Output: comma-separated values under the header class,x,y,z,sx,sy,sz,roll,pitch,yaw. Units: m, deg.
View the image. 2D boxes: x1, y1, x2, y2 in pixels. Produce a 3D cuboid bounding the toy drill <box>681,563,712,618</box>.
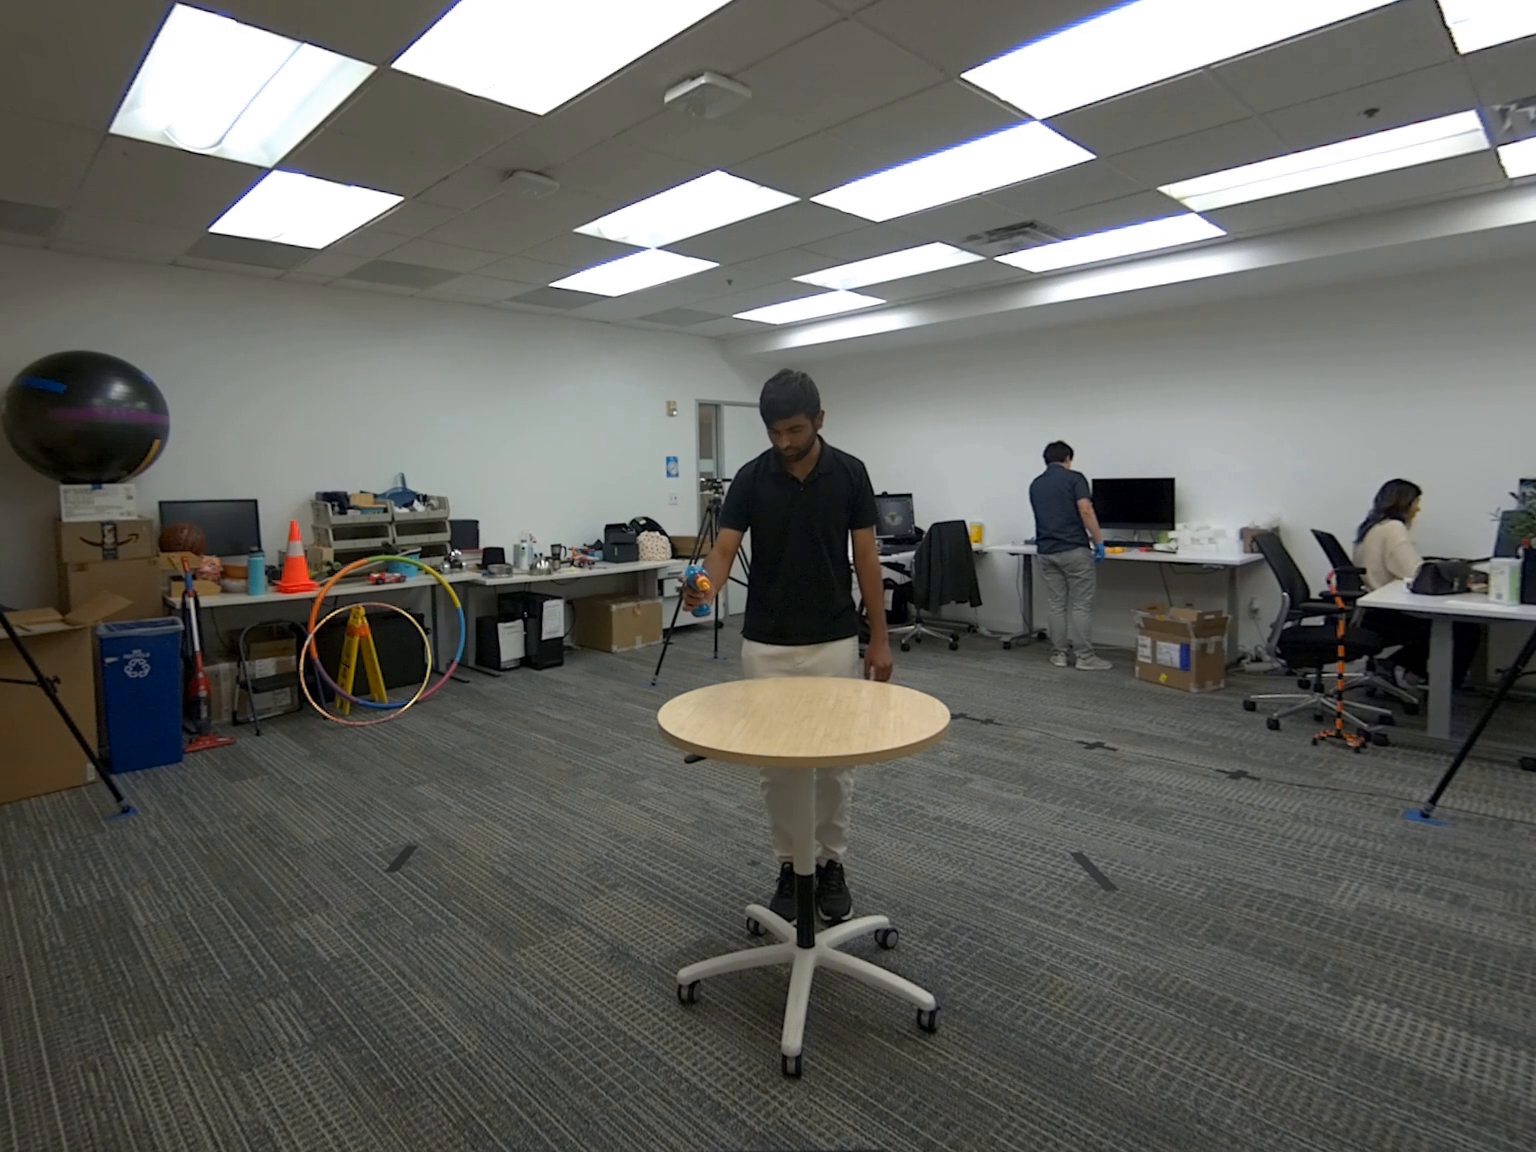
class,x,y,z,sx,sy,sz,roll,pitch,yaw
toy drill,-0.191,0.046,2.338,0.060,0.144,0.175,-8,19,-18
